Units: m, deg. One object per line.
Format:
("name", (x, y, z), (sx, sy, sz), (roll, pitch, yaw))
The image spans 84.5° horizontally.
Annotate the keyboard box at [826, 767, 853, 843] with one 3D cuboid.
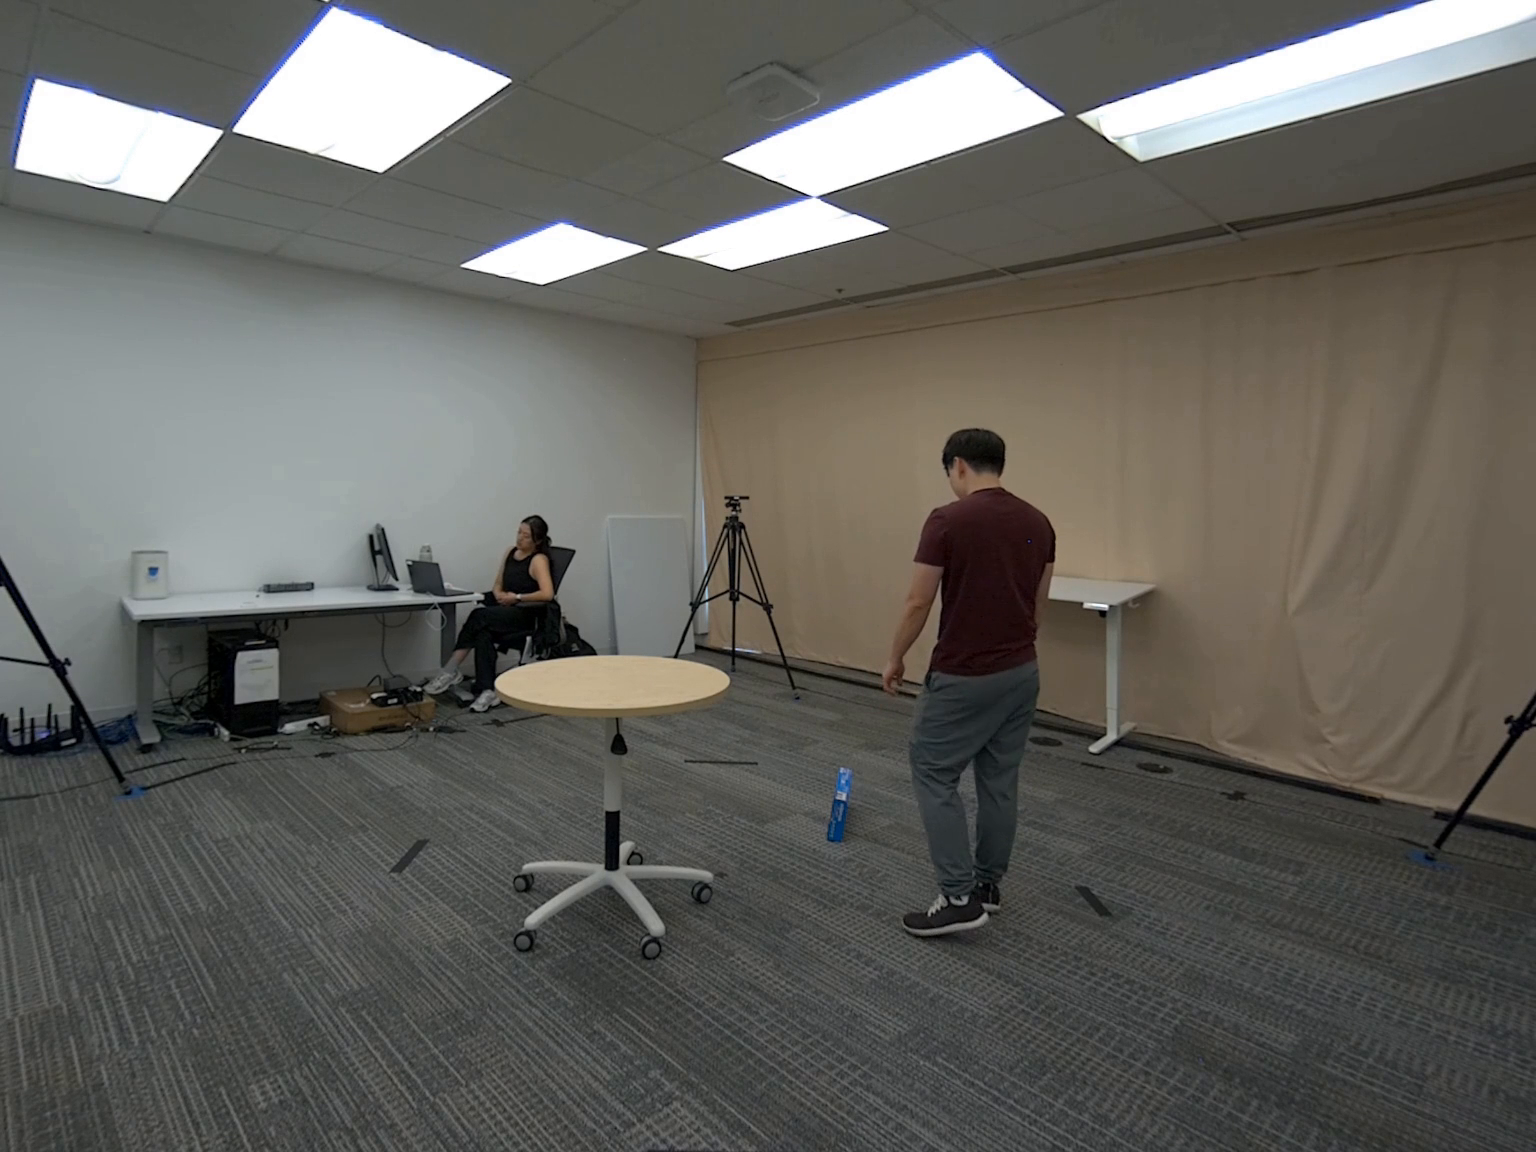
("keyboard box", (0.305, 0.980, 3.645), (0.059, 0.175, 0.435), (10, 6, 7))
